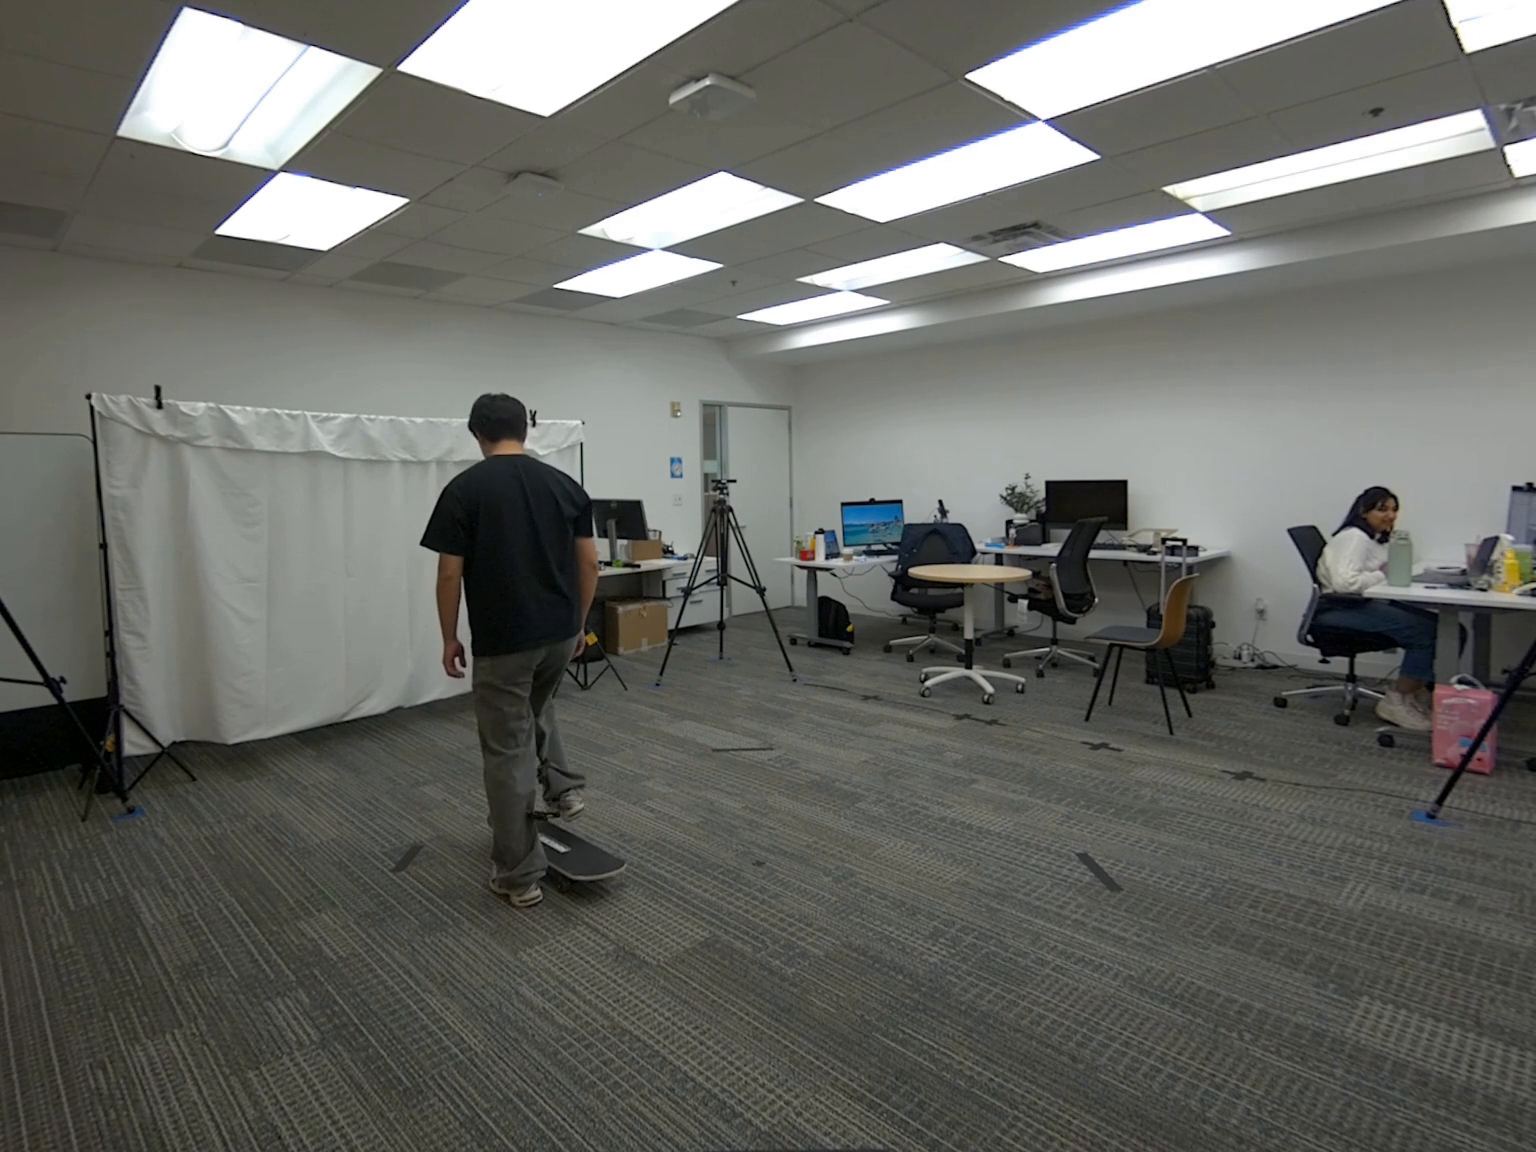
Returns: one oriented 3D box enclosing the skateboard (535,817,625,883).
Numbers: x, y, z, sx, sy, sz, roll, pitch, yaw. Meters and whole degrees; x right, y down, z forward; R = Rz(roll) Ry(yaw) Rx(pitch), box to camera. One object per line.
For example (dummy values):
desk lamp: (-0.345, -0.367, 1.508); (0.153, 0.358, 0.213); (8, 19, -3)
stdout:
skateboard: (-0.785, 1.007, 3.124); (0.810, 0.110, 0.188); (5, 9, 45)
